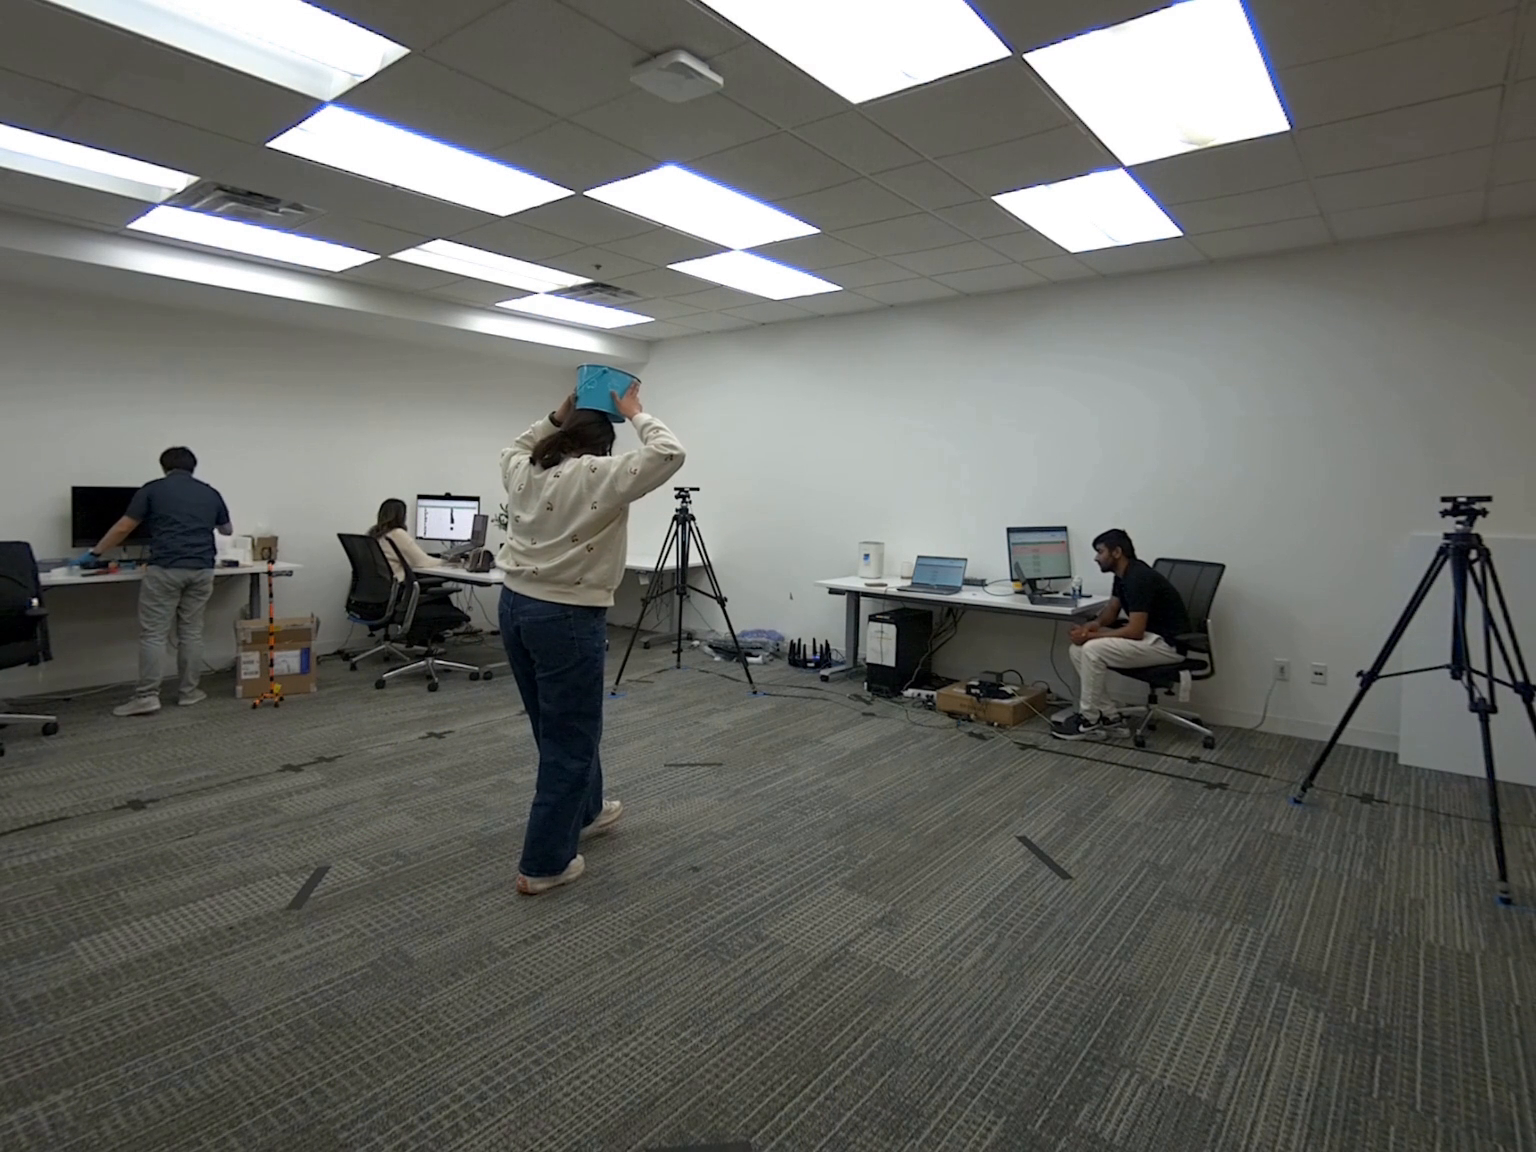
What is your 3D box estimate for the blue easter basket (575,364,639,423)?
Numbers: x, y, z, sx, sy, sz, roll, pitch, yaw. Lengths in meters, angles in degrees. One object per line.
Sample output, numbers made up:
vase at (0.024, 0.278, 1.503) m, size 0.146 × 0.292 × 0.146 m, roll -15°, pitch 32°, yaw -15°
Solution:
blue easter basket at (-0.598, -0.651, 3.047) m, size 0.244 × 0.156 × 0.242 m, roll 12°, pitch -5°, yaw -1°
